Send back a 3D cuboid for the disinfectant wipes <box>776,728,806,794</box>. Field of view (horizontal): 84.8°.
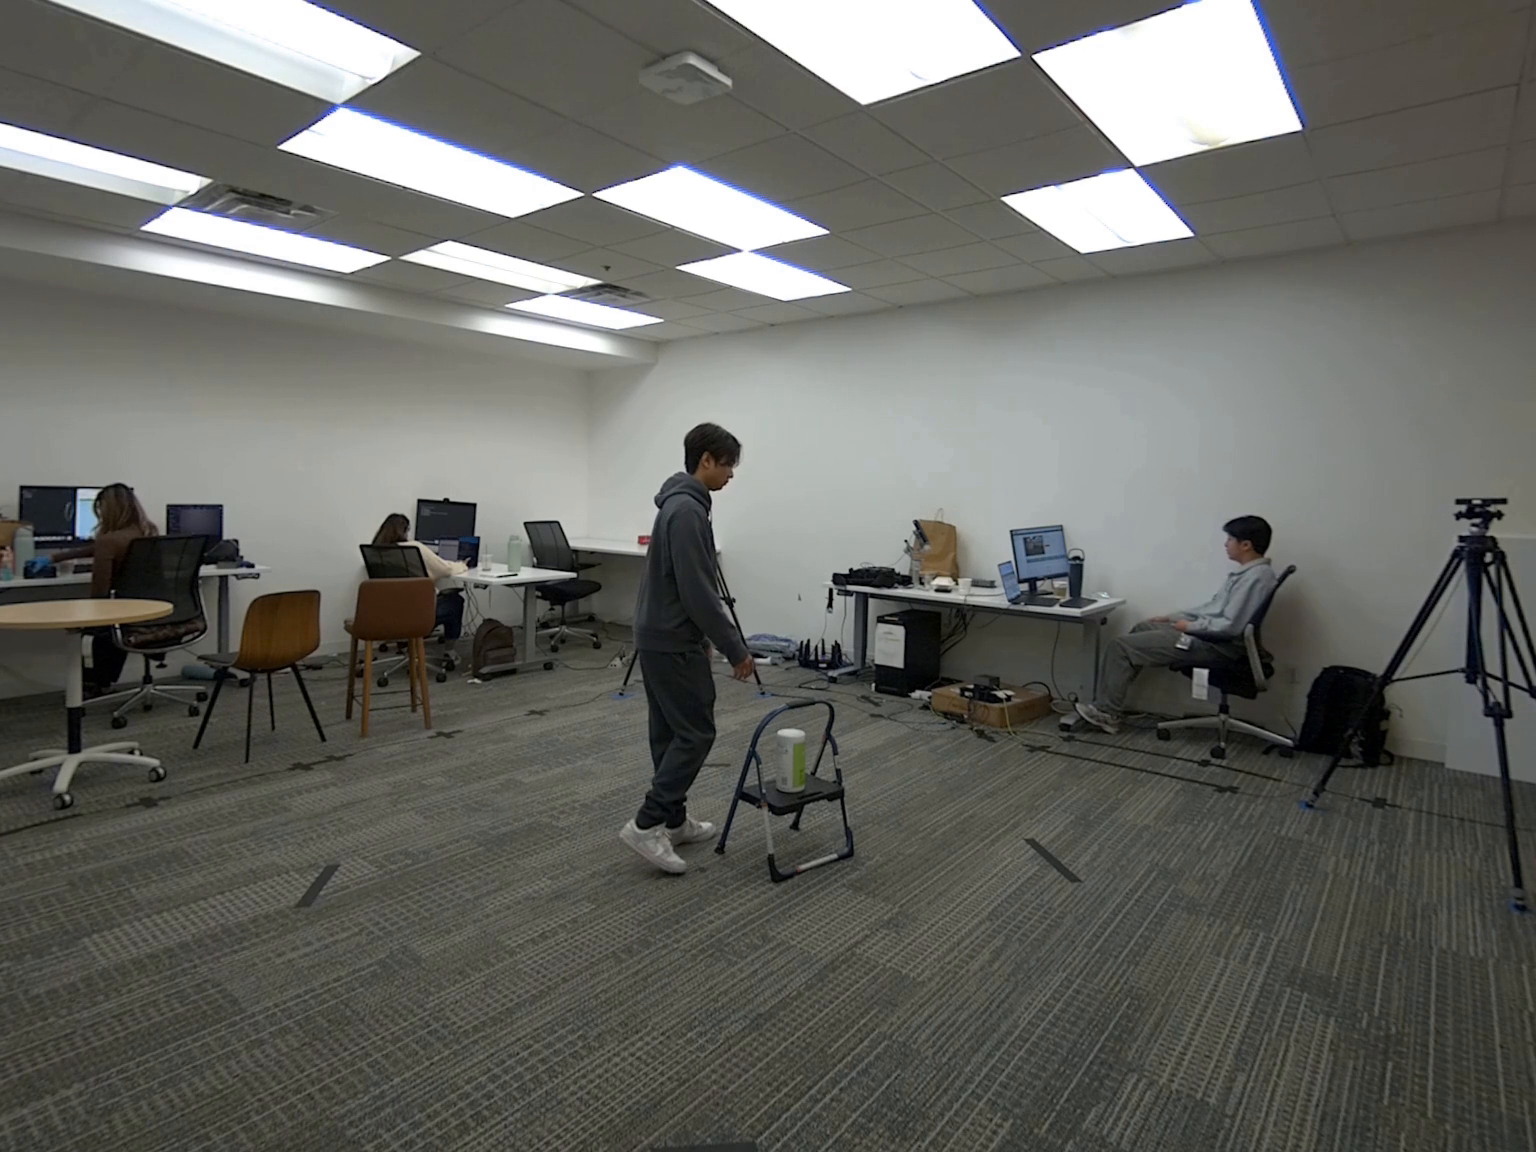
[{"bbox_3d":[0.080,0.701,3.221,0.117,0.217,0.118,1,4,-2],"label":"disinfectant wipes"}]
